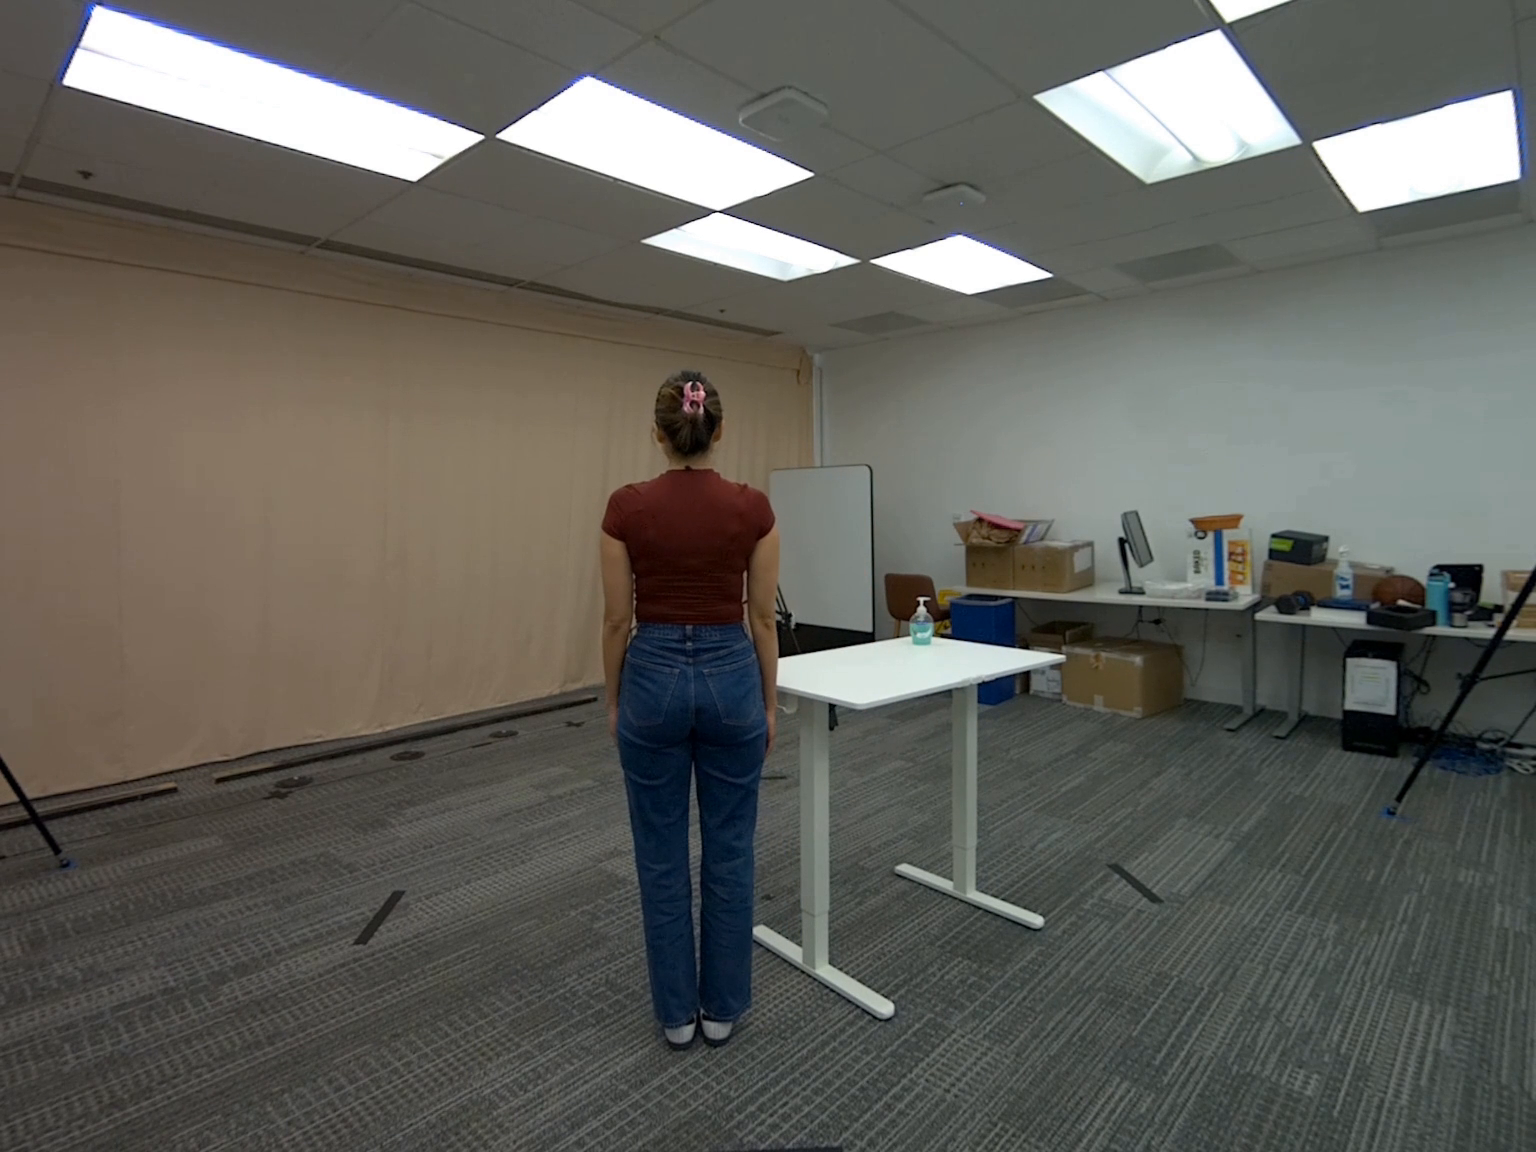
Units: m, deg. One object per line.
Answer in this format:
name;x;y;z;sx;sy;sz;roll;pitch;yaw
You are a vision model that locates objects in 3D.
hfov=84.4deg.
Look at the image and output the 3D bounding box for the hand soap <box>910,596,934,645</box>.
hand soap;0.555;0.163;3.005;0.084;0.168;0.043;0;0;-2
